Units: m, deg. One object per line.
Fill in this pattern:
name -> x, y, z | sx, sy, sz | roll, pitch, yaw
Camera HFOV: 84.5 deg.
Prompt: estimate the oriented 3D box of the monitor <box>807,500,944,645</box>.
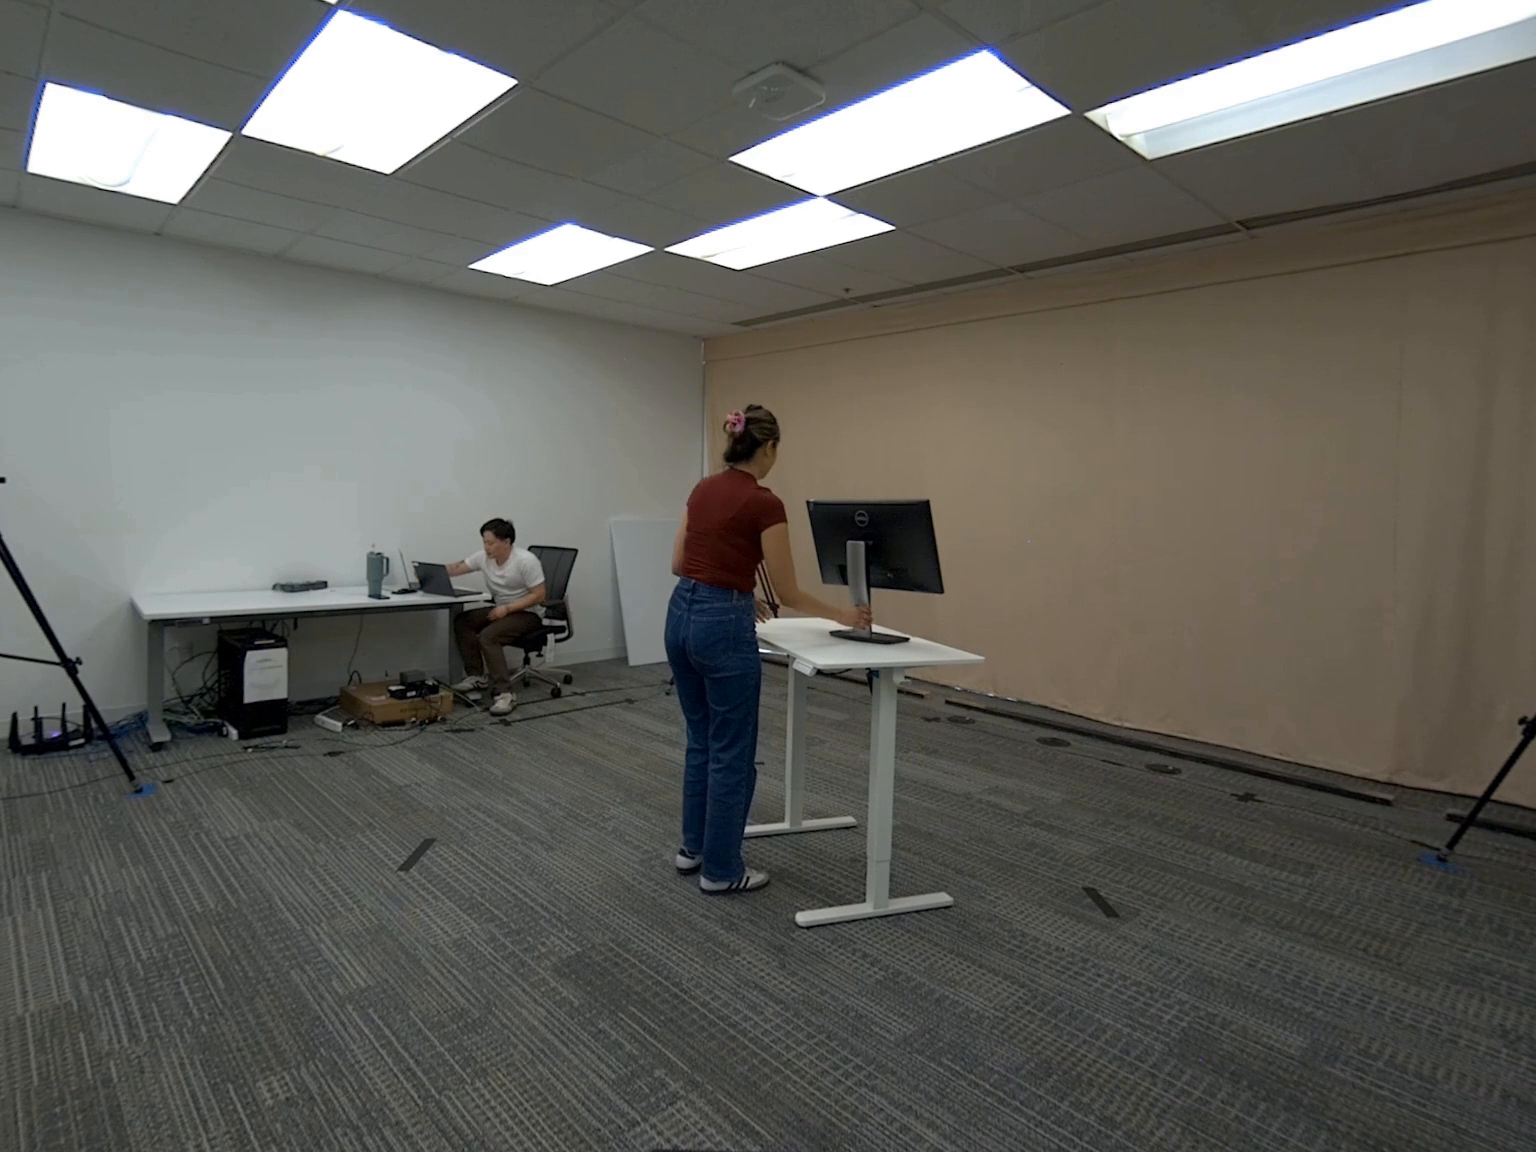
monitor -> 0.361, -0.023, 3.110 | 0.552, 0.520, 0.183 | 3, 7, 41
